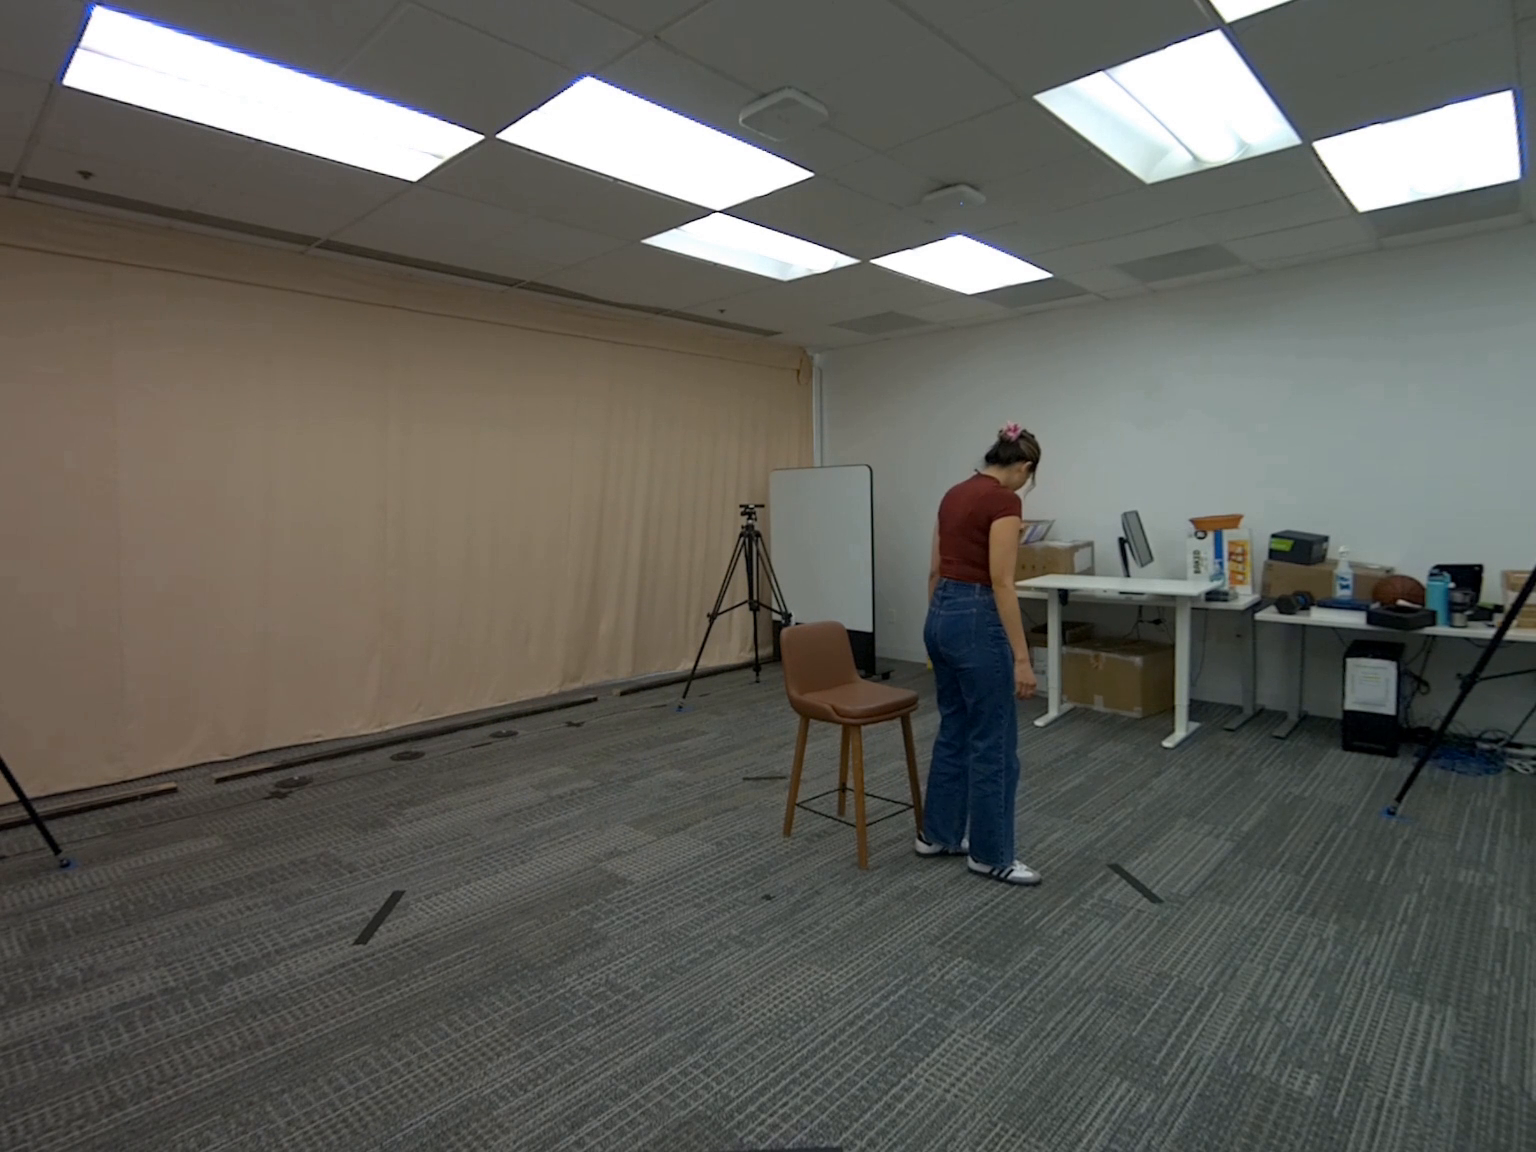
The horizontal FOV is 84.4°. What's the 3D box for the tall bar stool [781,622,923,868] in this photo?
[{"bbox_3d":[0.345,0.654,3.477,0.442,0.889,0.483,-3,2,-42],"label":"tall bar stool"}]
